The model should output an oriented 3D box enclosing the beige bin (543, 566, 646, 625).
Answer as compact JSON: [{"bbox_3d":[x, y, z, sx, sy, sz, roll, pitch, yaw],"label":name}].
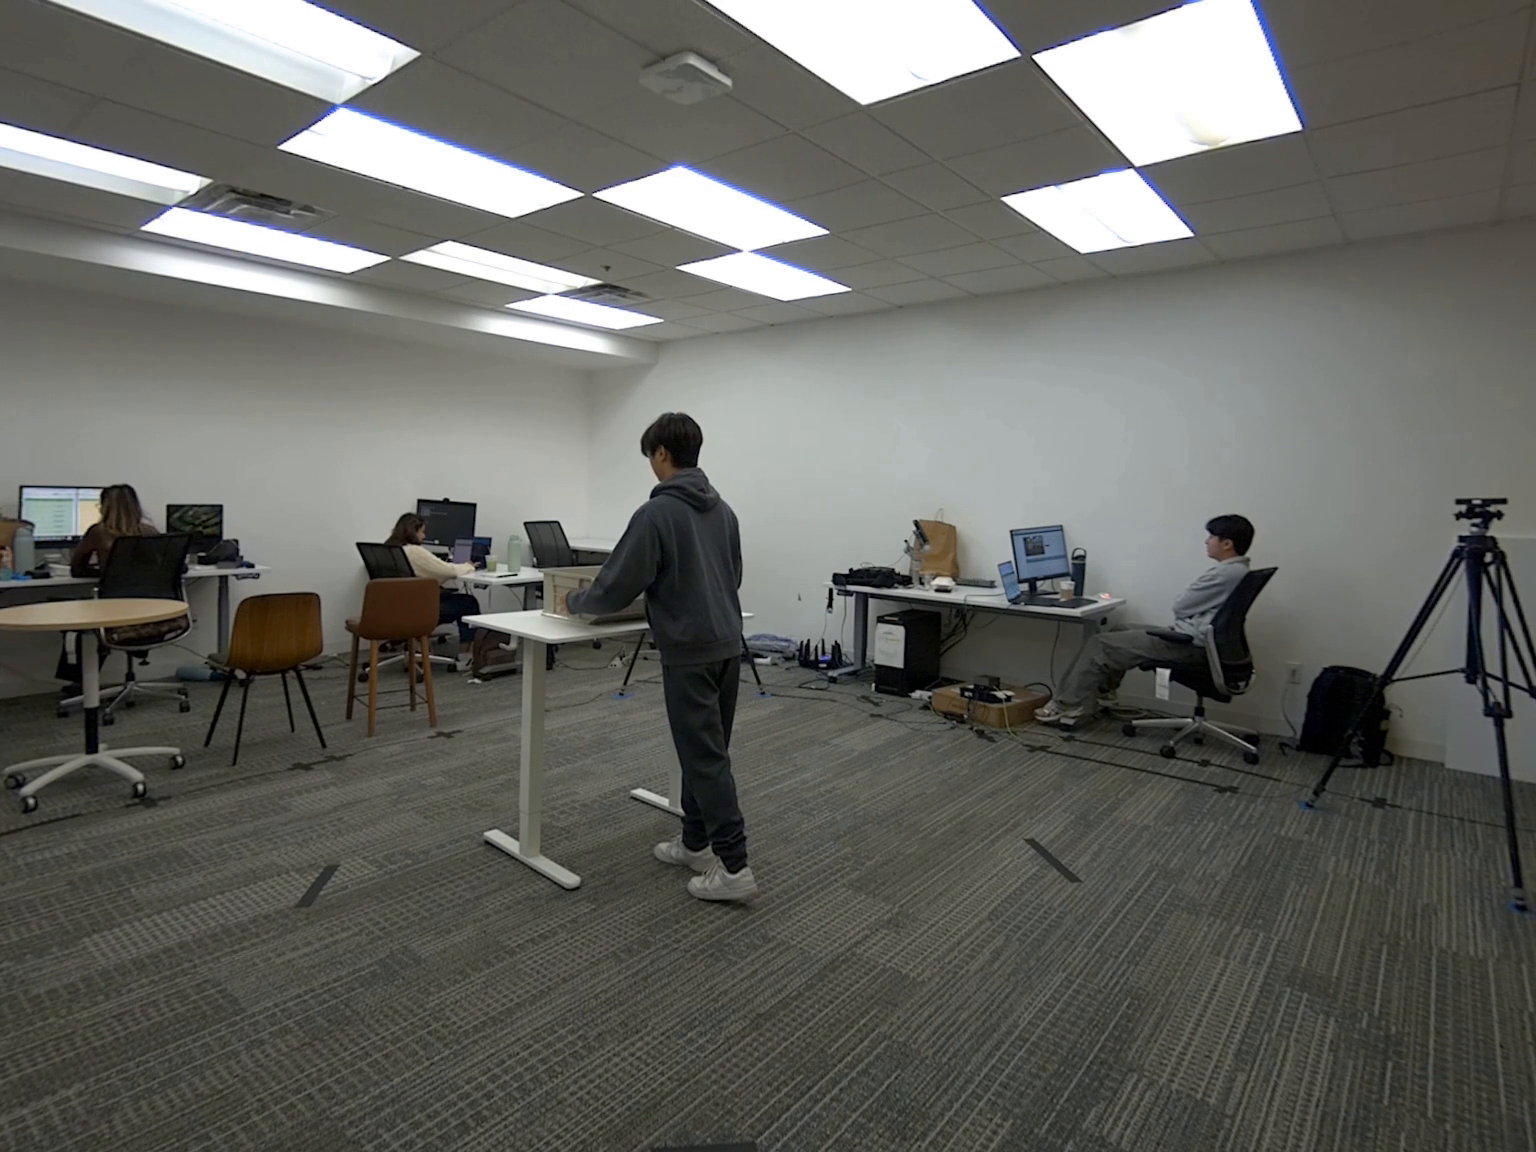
[{"bbox_3d":[-0.638,0.070,3.354,0.390,0.188,0.409,6,6,43],"label":"beige bin"}]
